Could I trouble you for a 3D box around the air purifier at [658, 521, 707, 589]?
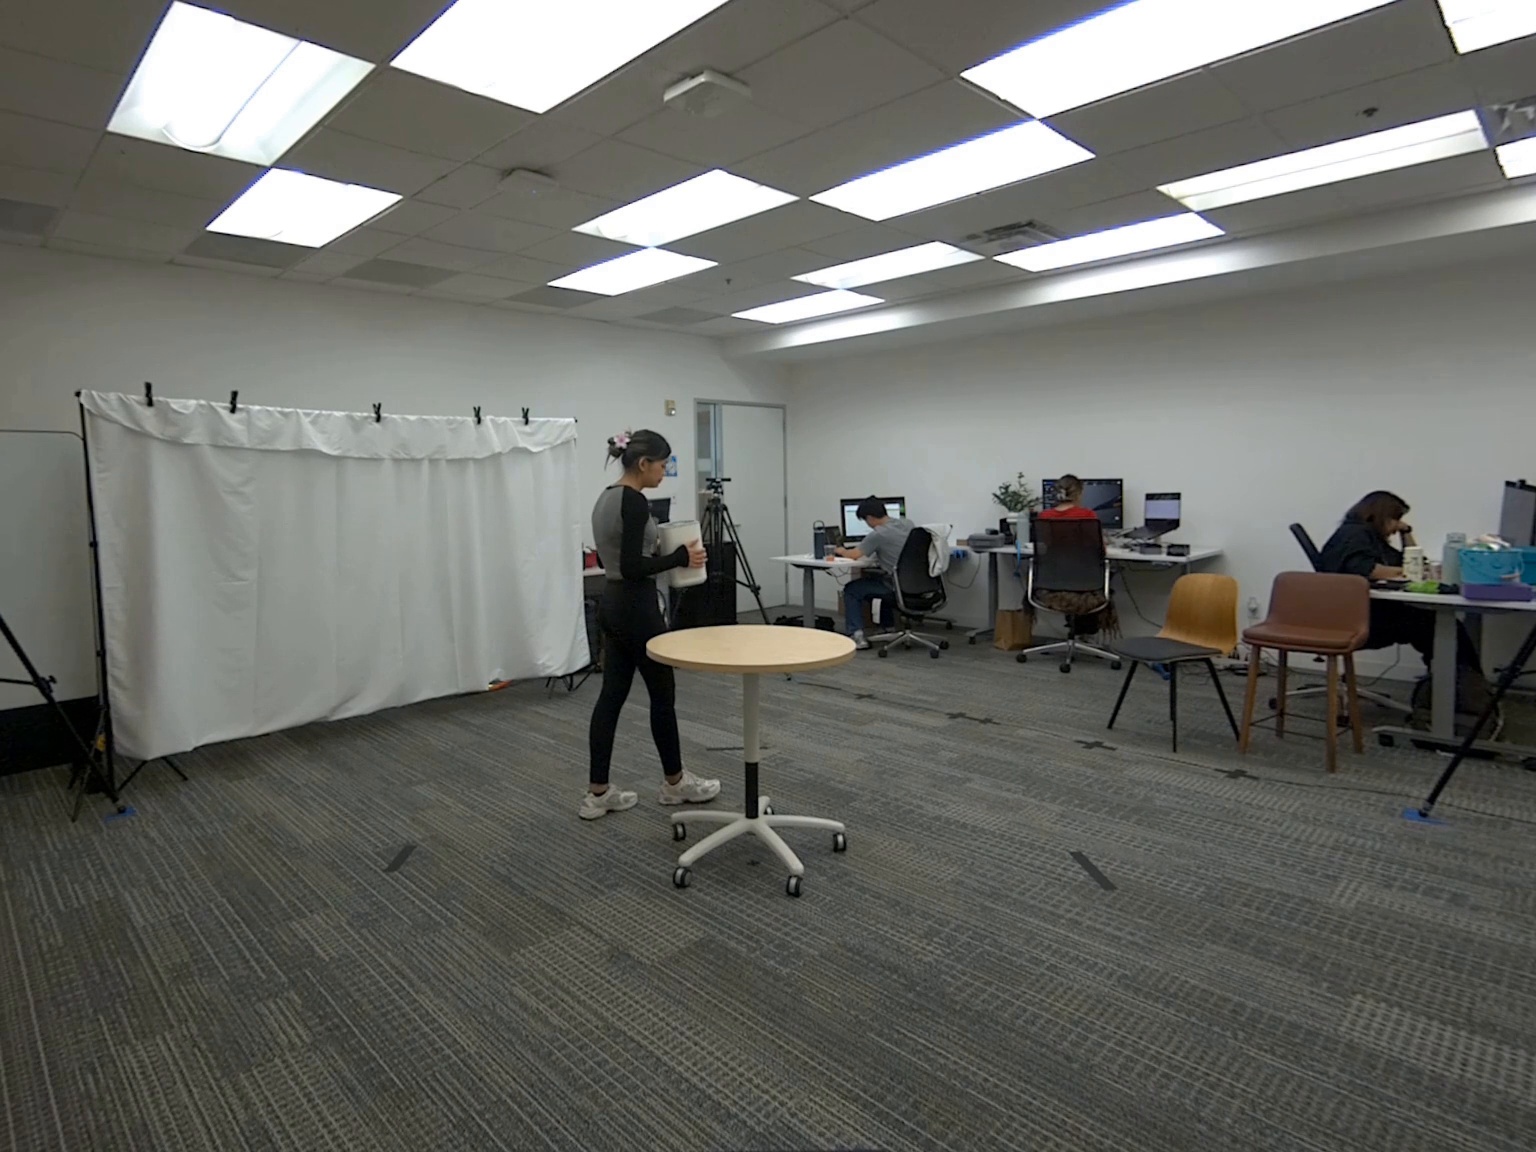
[{"bbox_3d":[-0.375,-0.093,3.685,0.169,0.263,0.175,-11,9,-18],"label":"air purifier"}]
